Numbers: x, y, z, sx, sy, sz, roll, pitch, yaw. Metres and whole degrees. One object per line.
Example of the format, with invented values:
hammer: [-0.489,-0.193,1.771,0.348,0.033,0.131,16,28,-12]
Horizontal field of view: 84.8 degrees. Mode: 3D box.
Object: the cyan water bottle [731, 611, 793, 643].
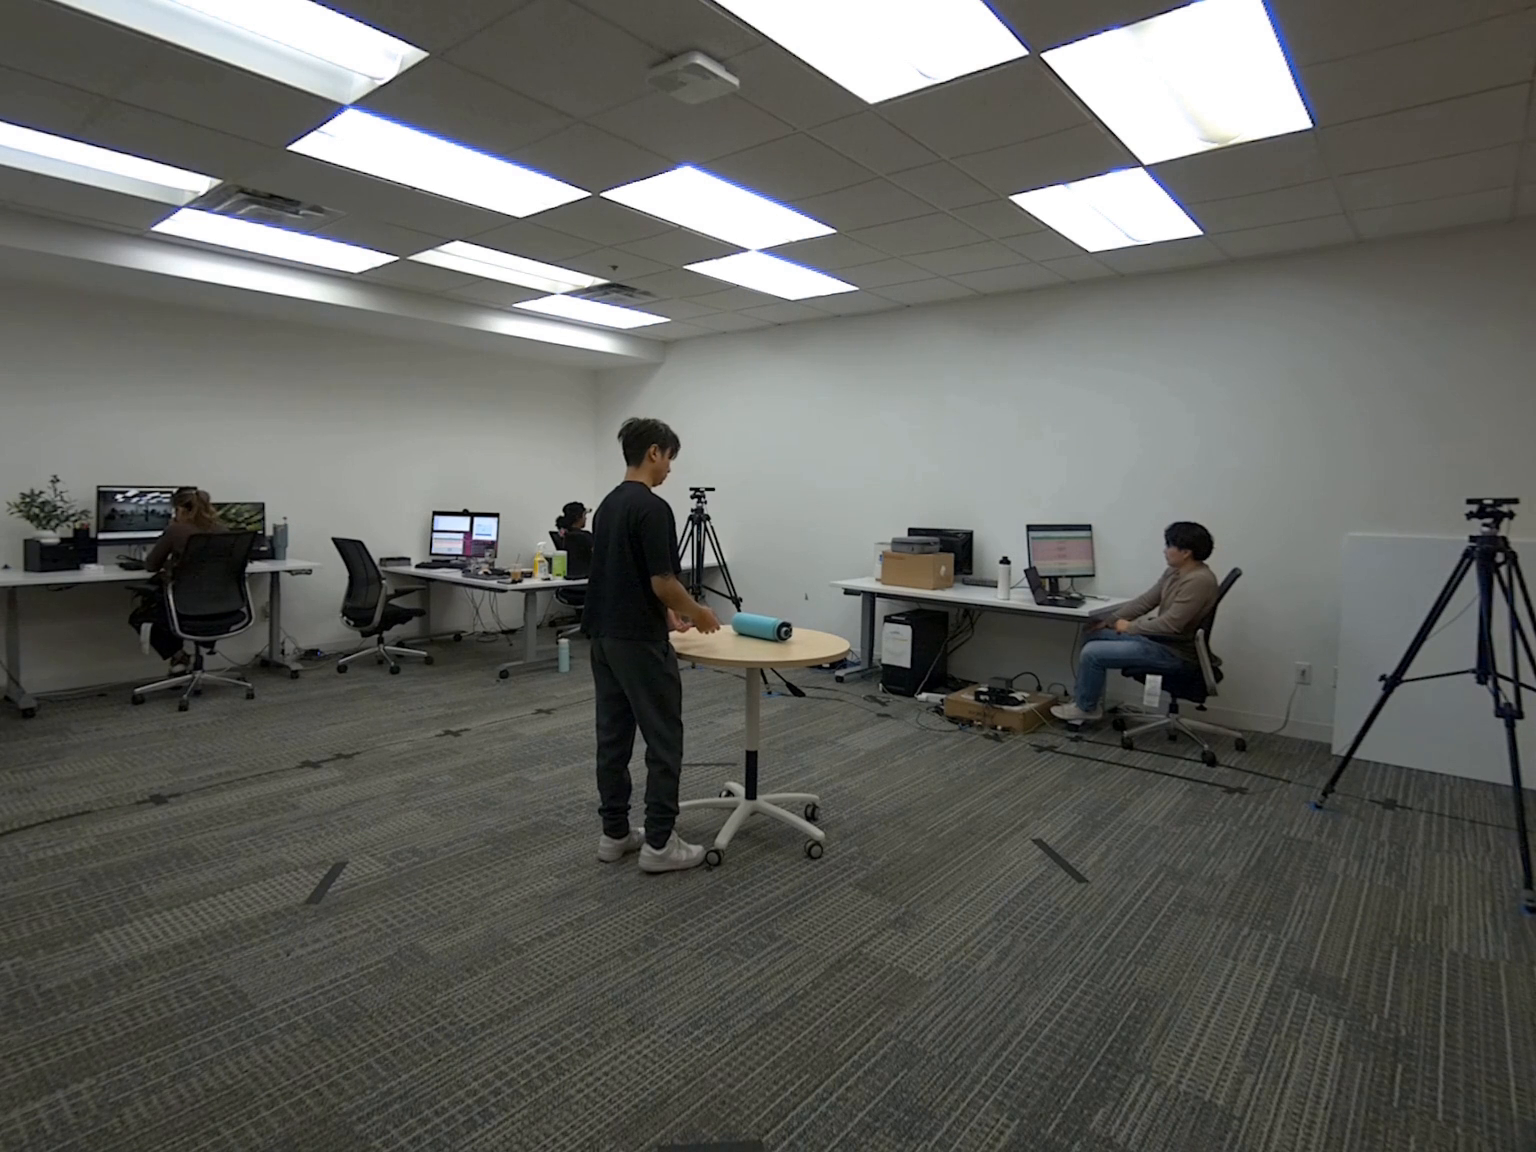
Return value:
cyan water bottle: [-0.031,0.206,3.469,0.293,0.092,0.089,6,7,43]
